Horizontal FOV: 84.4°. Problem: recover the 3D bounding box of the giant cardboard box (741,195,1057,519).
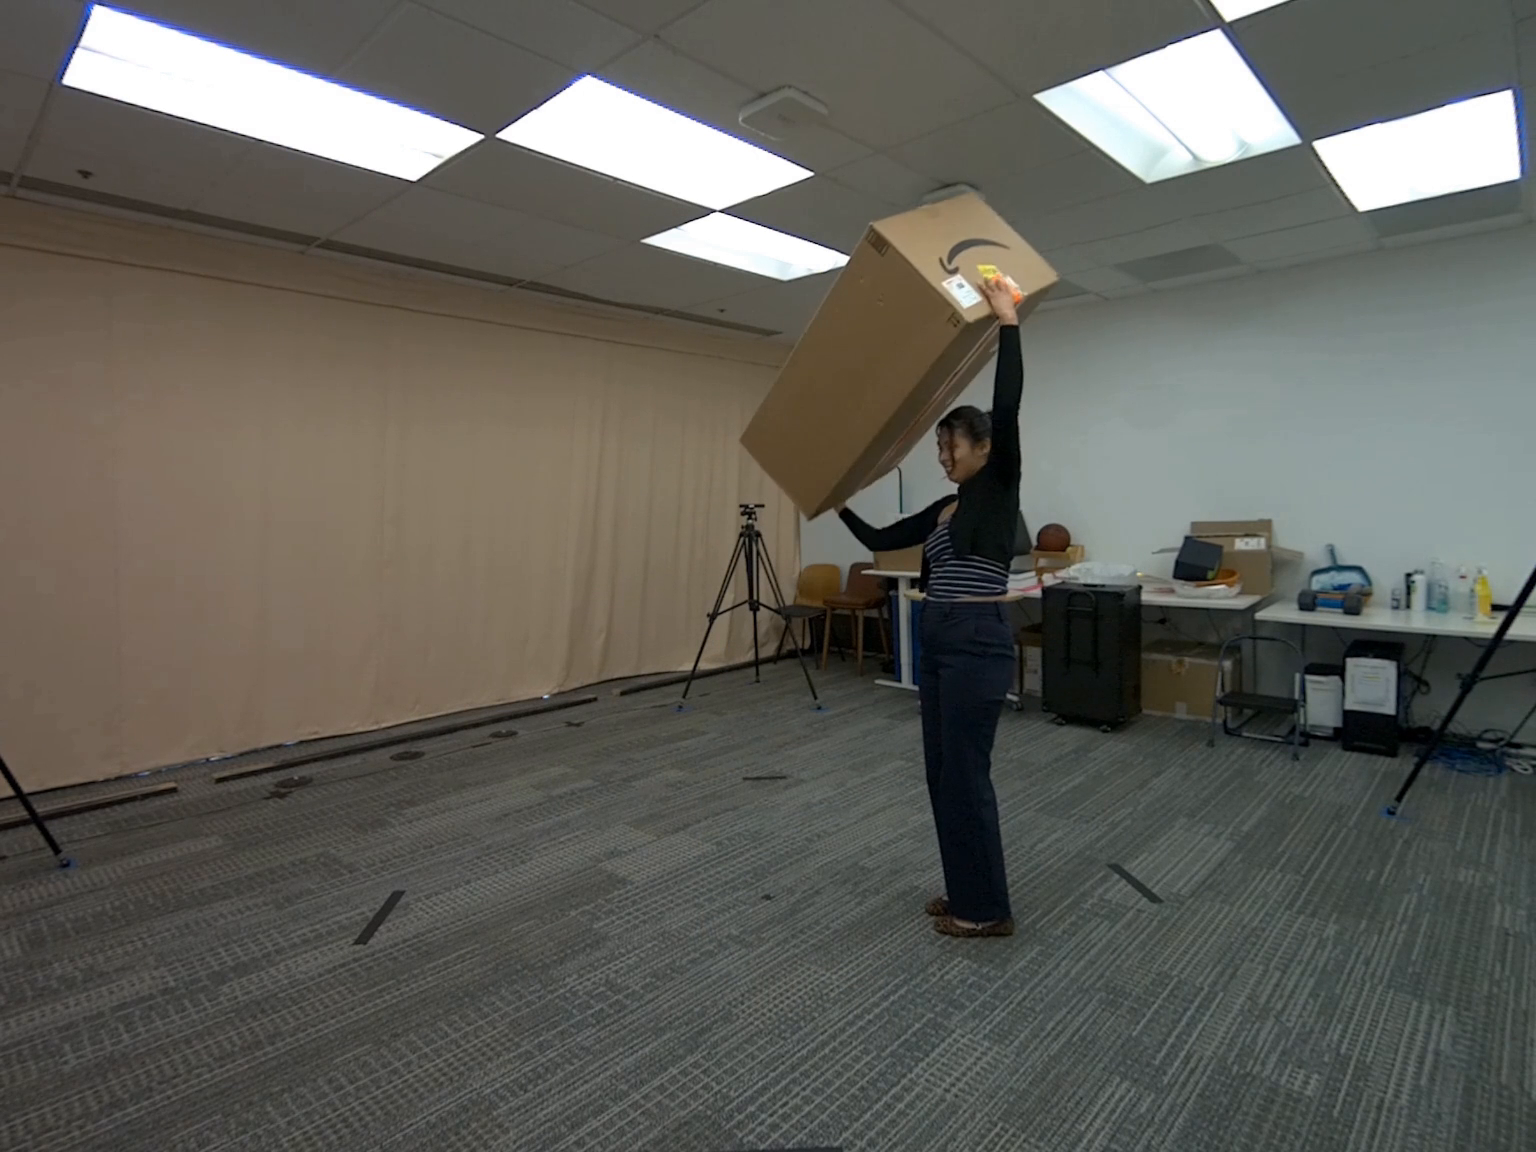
[{"bbox_3d":[0.412,-0.722,2.957,0.567,0.432,1.030,-31,-13,-38],"label":"giant cardboard box"}]
